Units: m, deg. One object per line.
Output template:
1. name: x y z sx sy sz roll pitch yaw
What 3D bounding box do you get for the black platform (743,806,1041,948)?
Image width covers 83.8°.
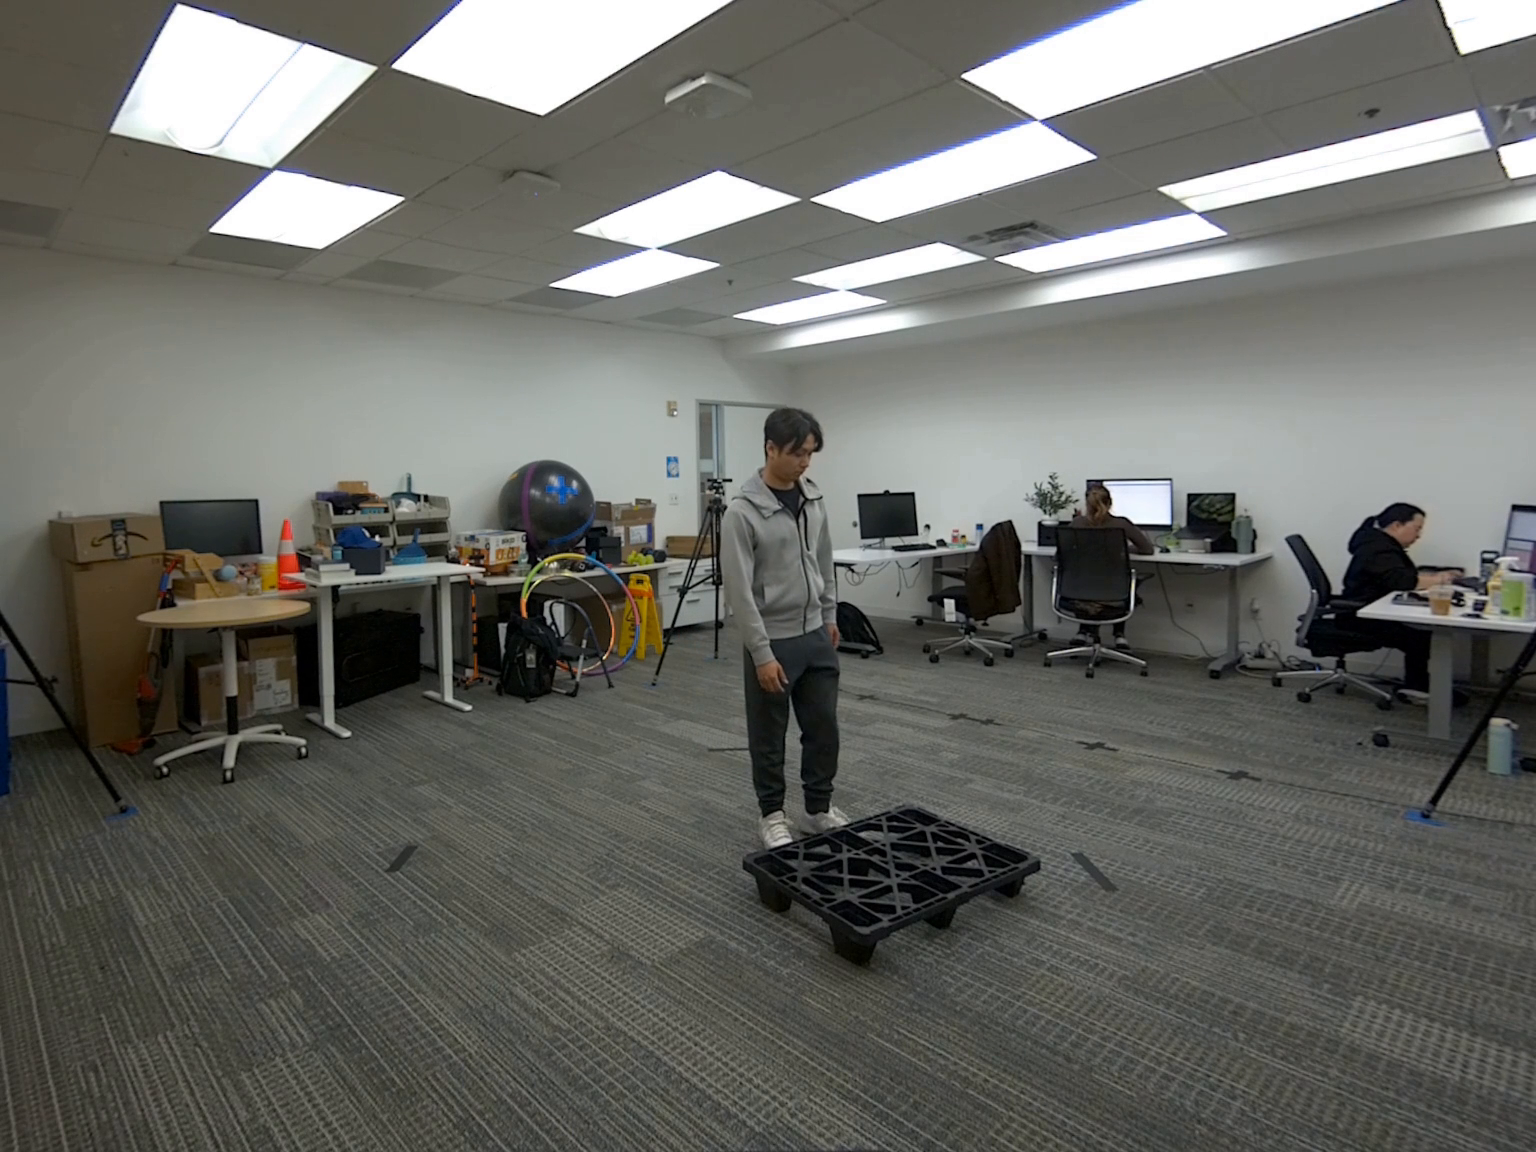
1. black platform: 0.404 1.003 2.831 0.785 0.143 0.623 -6 7 -35
